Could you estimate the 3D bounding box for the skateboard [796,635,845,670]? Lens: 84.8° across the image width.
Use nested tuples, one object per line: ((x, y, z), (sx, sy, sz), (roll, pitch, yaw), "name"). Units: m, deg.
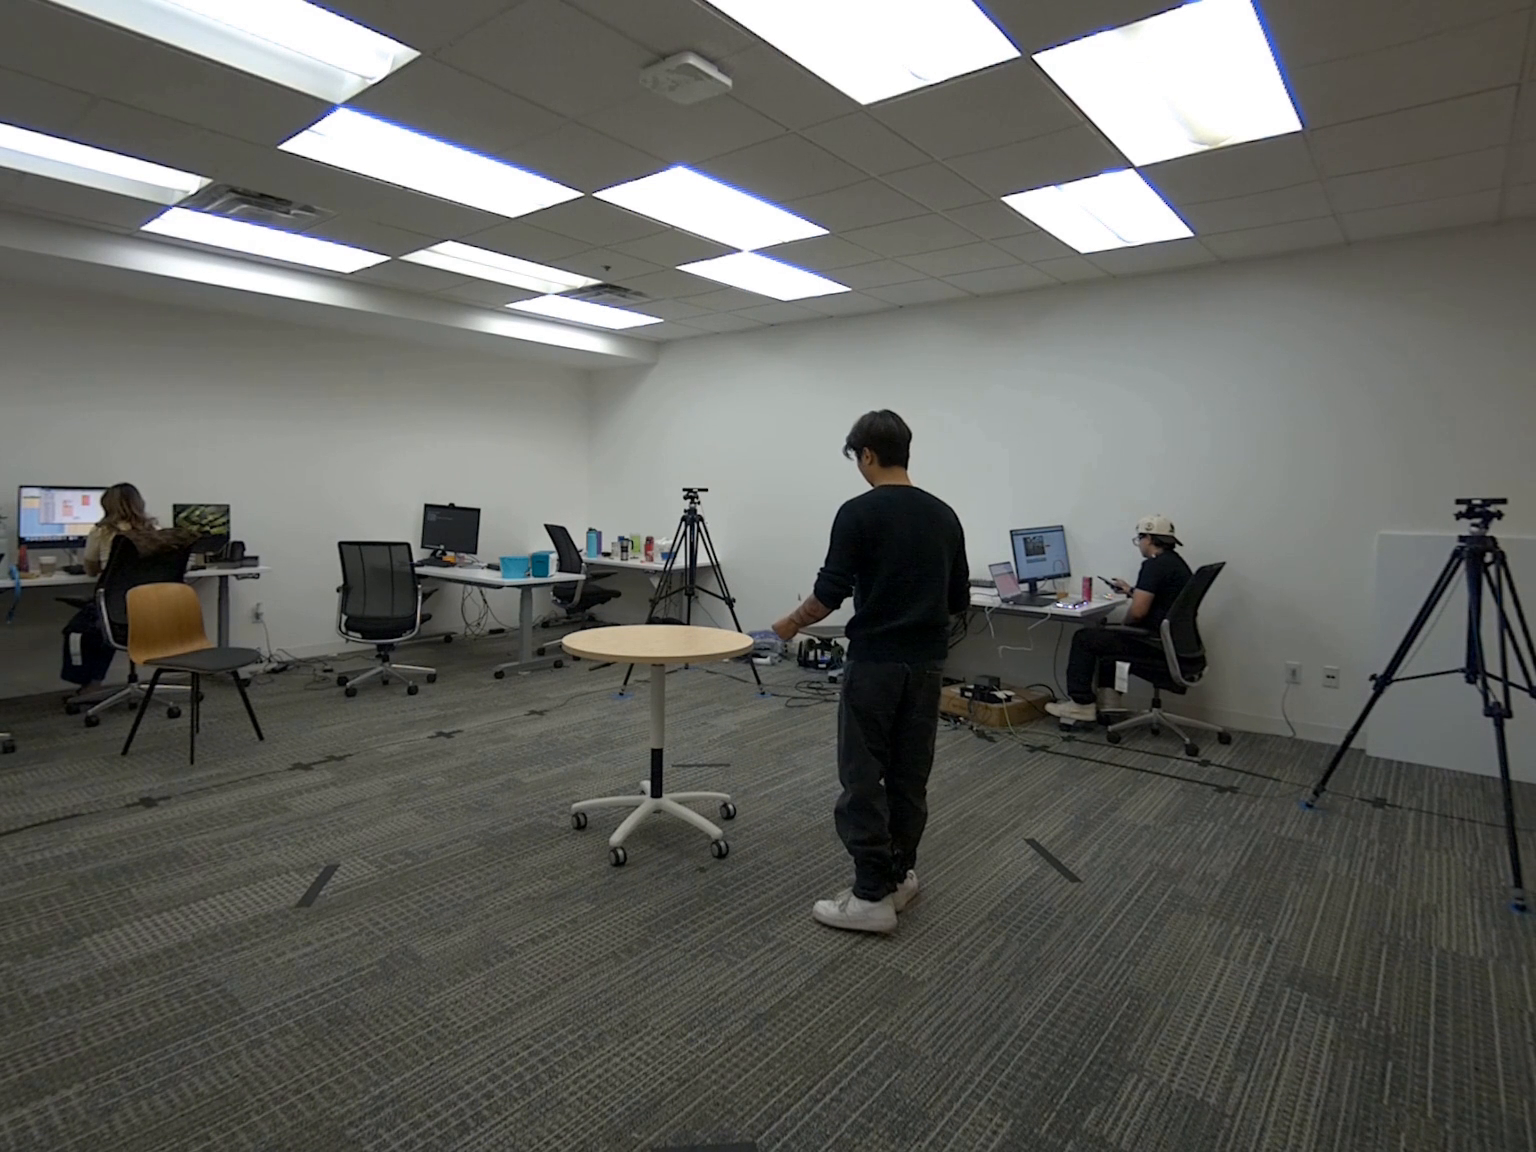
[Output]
((0.353, 0.236, 3.199), (0.761, 0.110, 0.200), (1, 4, -35), "skateboard")
